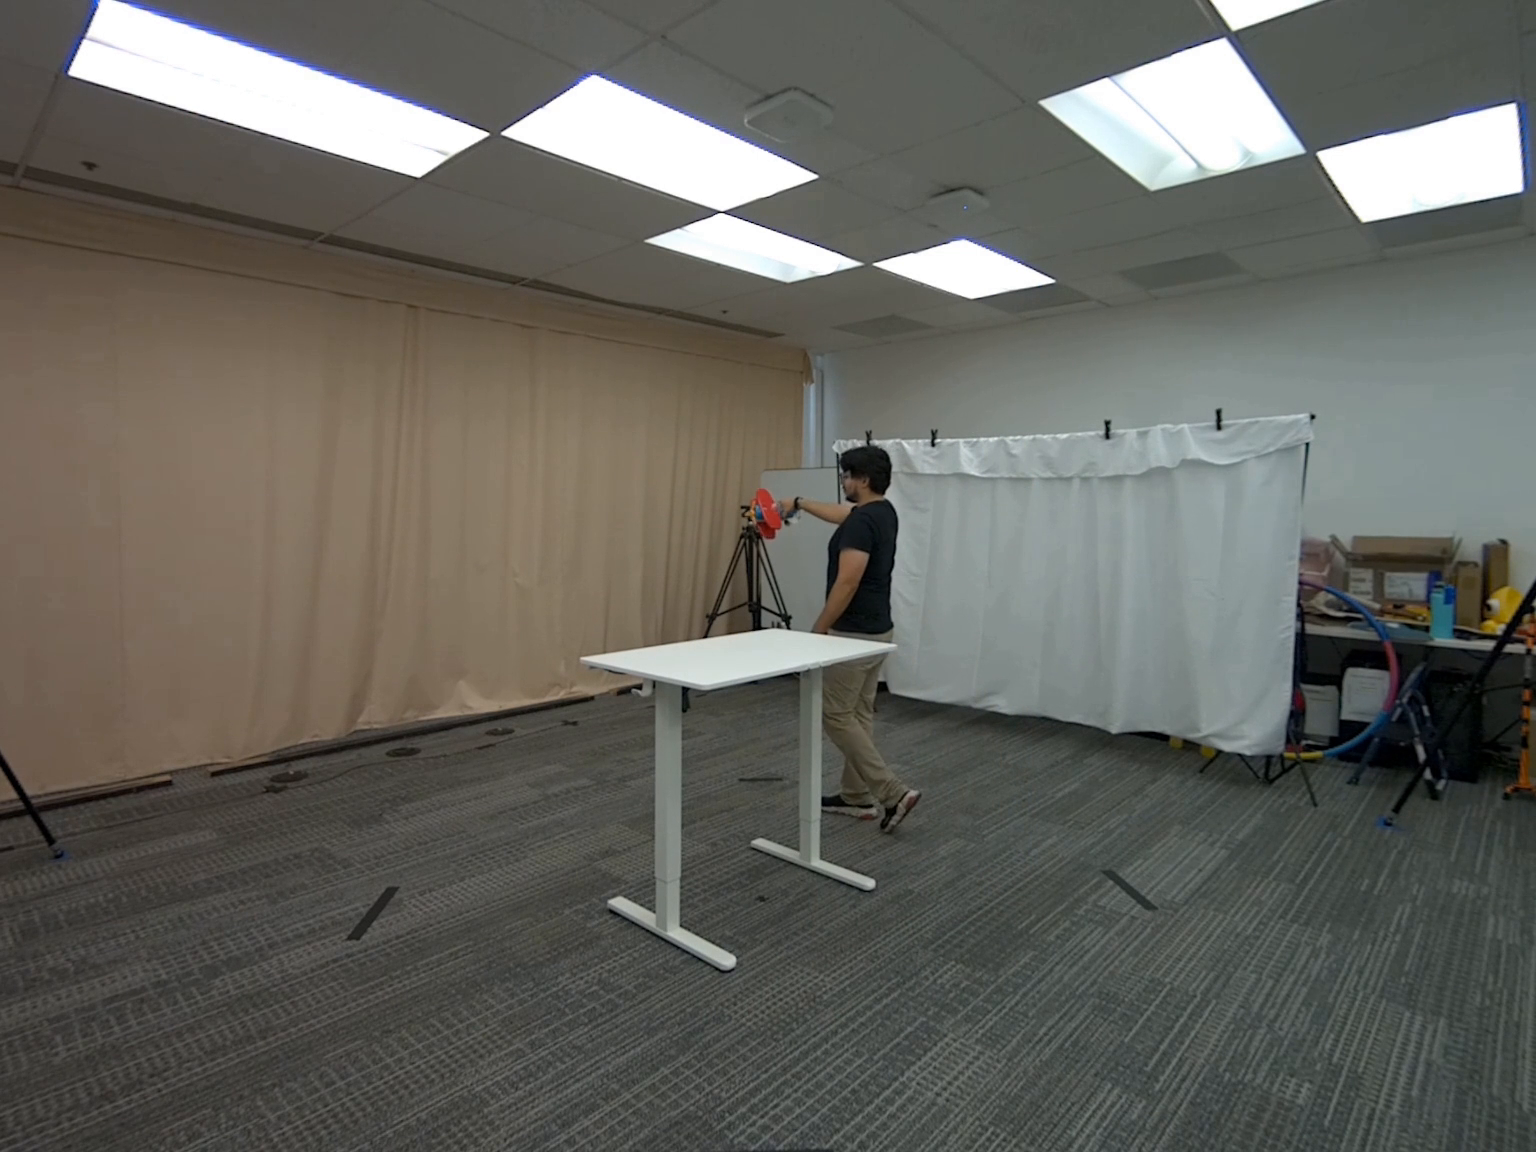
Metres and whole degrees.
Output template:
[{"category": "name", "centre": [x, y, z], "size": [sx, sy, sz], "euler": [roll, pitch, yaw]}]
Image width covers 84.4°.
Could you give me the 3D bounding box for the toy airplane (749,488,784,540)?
[{"category": "toy airplane", "centre": [0.022, -0.321, 4.257], "size": [0.256, 0.257, 0.155], "euler": [-36, -22, -28]}]
